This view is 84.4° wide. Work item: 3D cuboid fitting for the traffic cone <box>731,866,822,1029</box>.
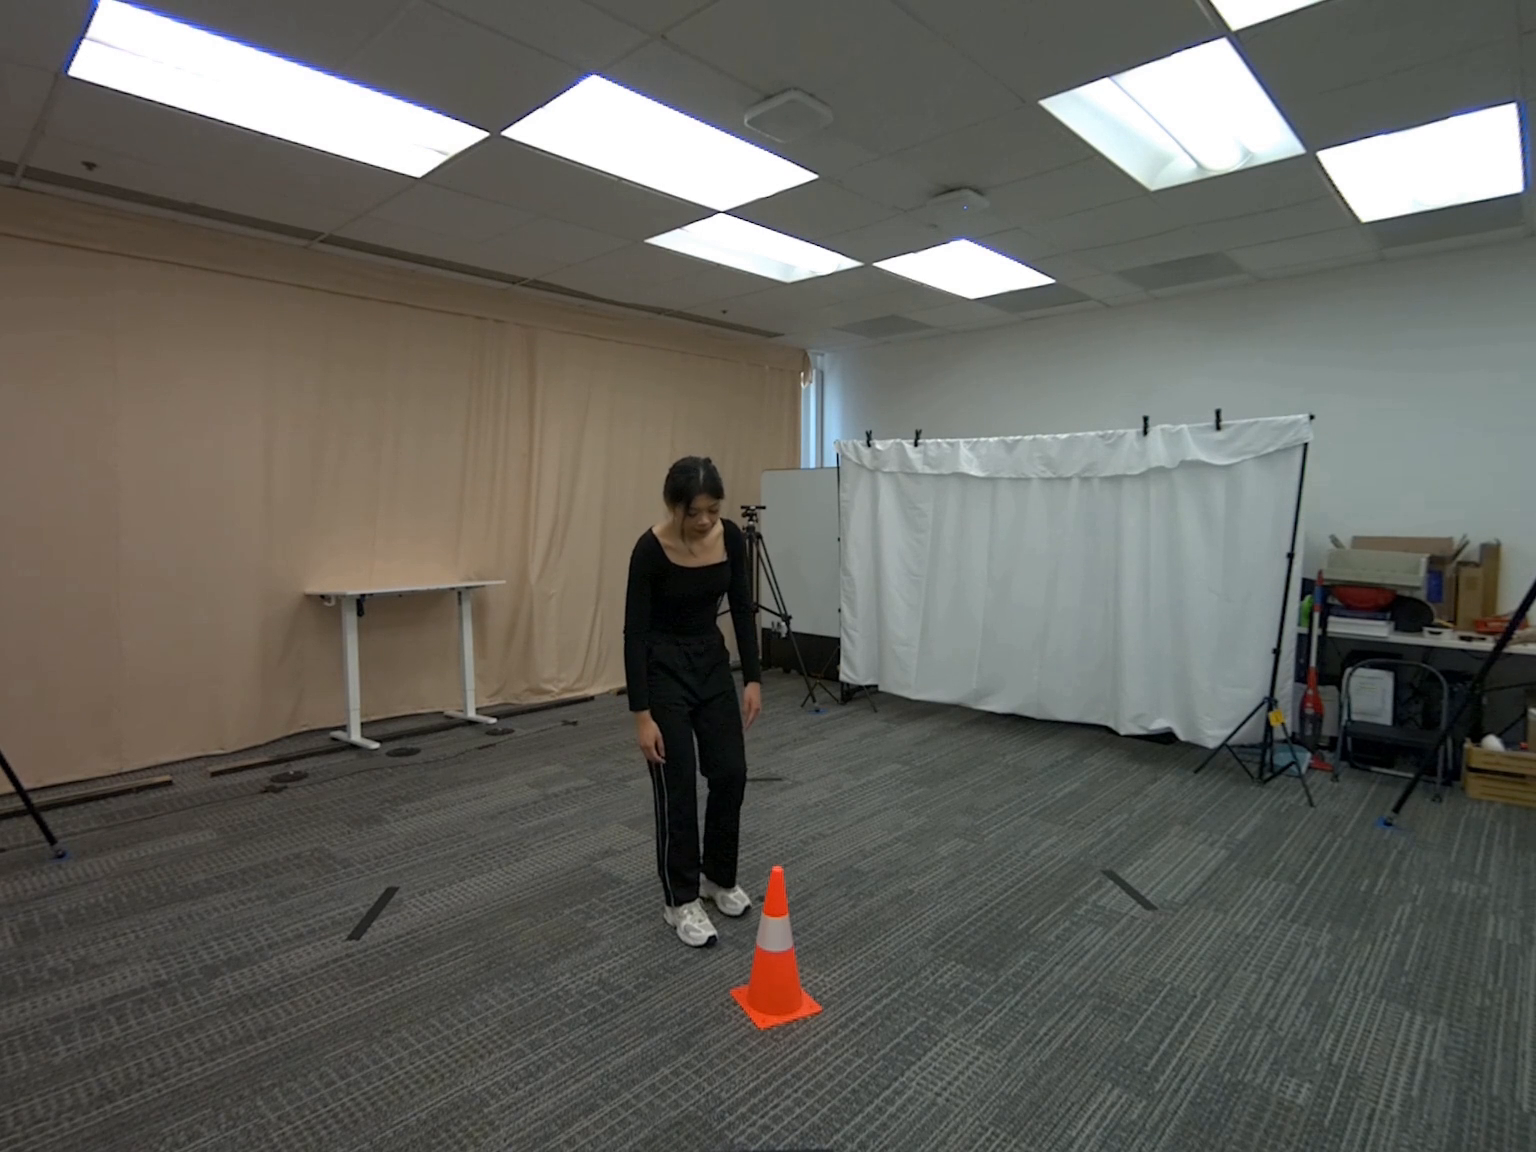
[{"bbox_3d":[0.026,1.011,2.353,0.199,0.383,0.210,-1,4,-24],"label":"traffic cone"}]
